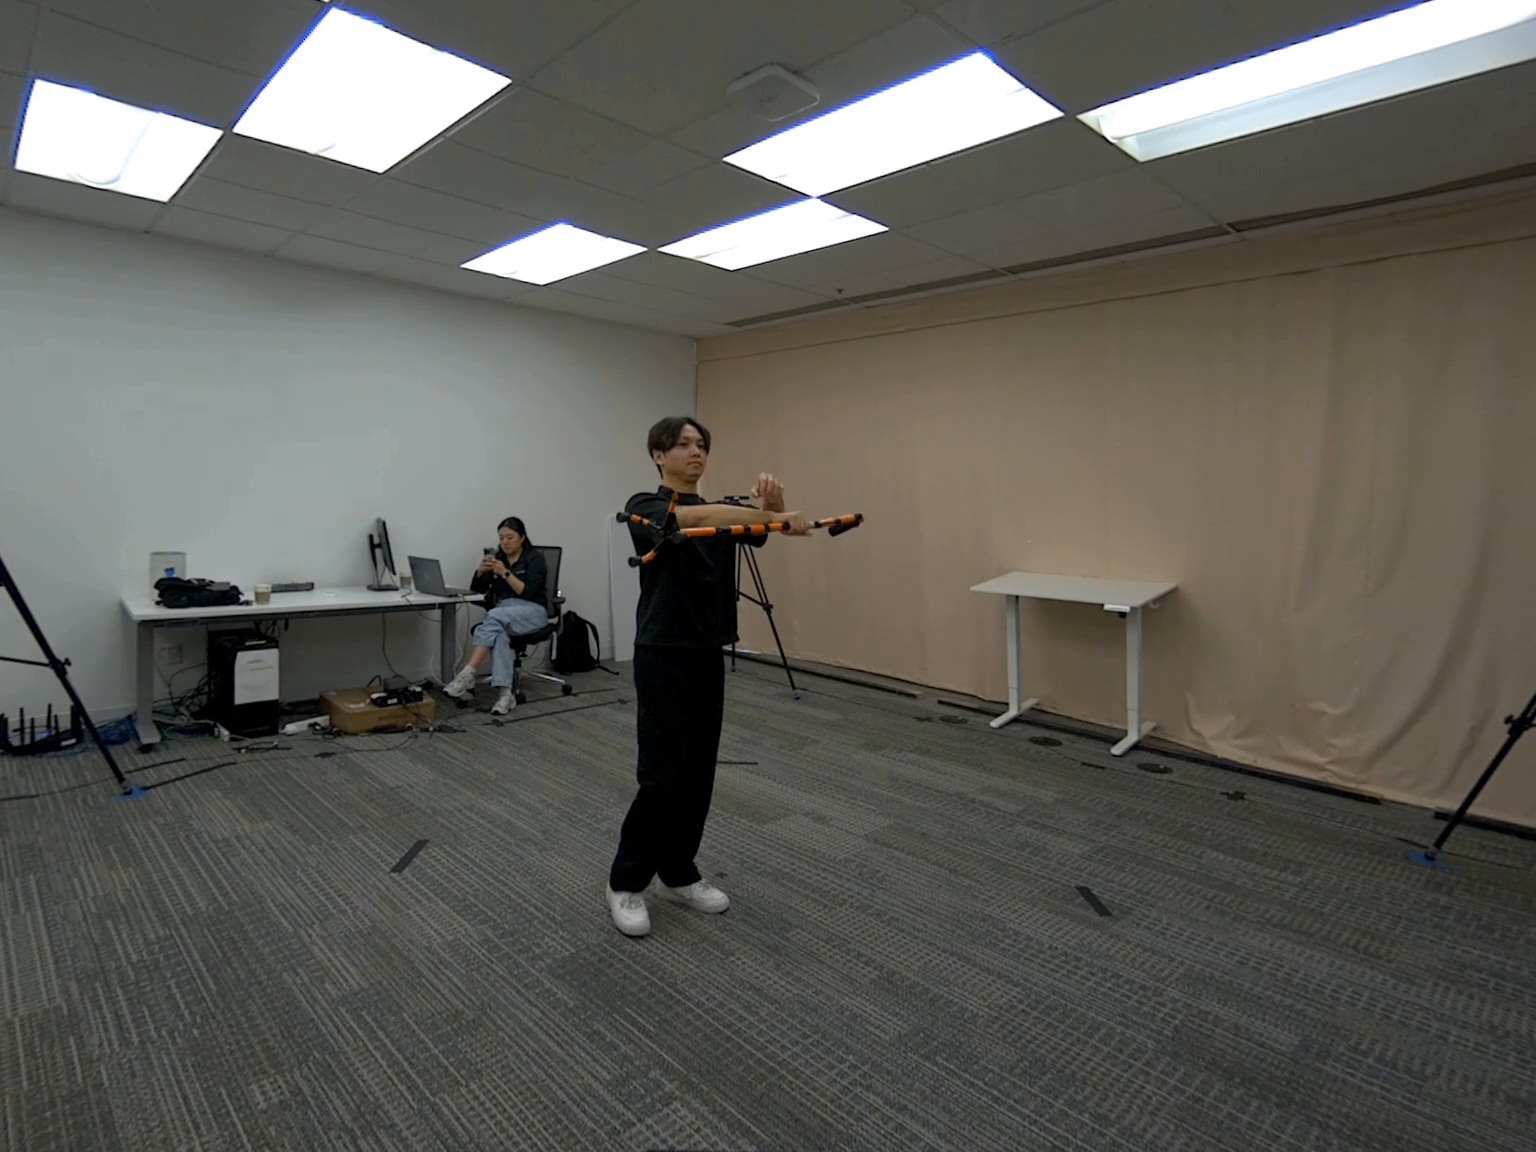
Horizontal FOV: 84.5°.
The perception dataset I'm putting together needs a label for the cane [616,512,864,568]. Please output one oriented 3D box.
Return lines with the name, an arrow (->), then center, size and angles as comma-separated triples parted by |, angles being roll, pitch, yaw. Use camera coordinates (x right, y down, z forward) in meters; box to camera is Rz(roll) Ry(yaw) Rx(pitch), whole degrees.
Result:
cane -> -0.011, -0.149, 2.417 | 0.209, 0.153, 0.888 | -26, -13, 40
